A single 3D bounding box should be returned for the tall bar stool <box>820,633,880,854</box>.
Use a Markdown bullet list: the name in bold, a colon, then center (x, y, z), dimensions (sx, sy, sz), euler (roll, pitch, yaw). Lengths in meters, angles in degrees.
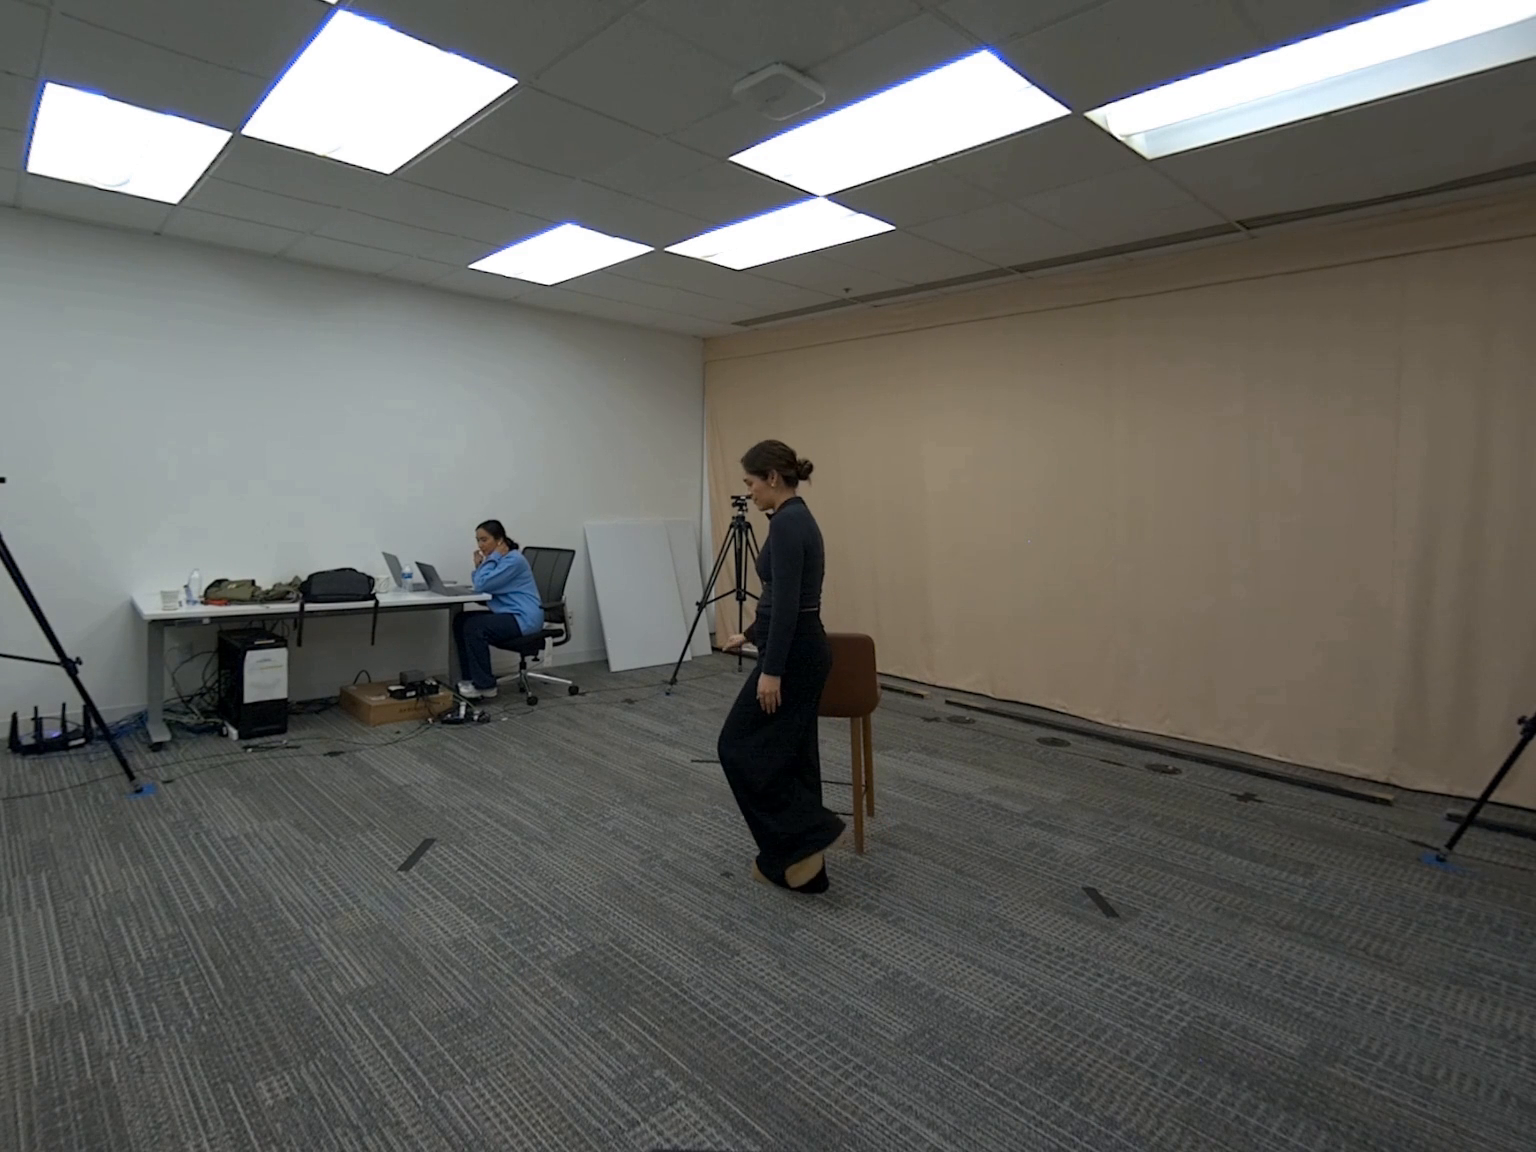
- **tall bar stool**: center (0.234, 0.637, 3.540), dimensions (0.461, 0.886, 0.464), euler (2, 5, 13)
